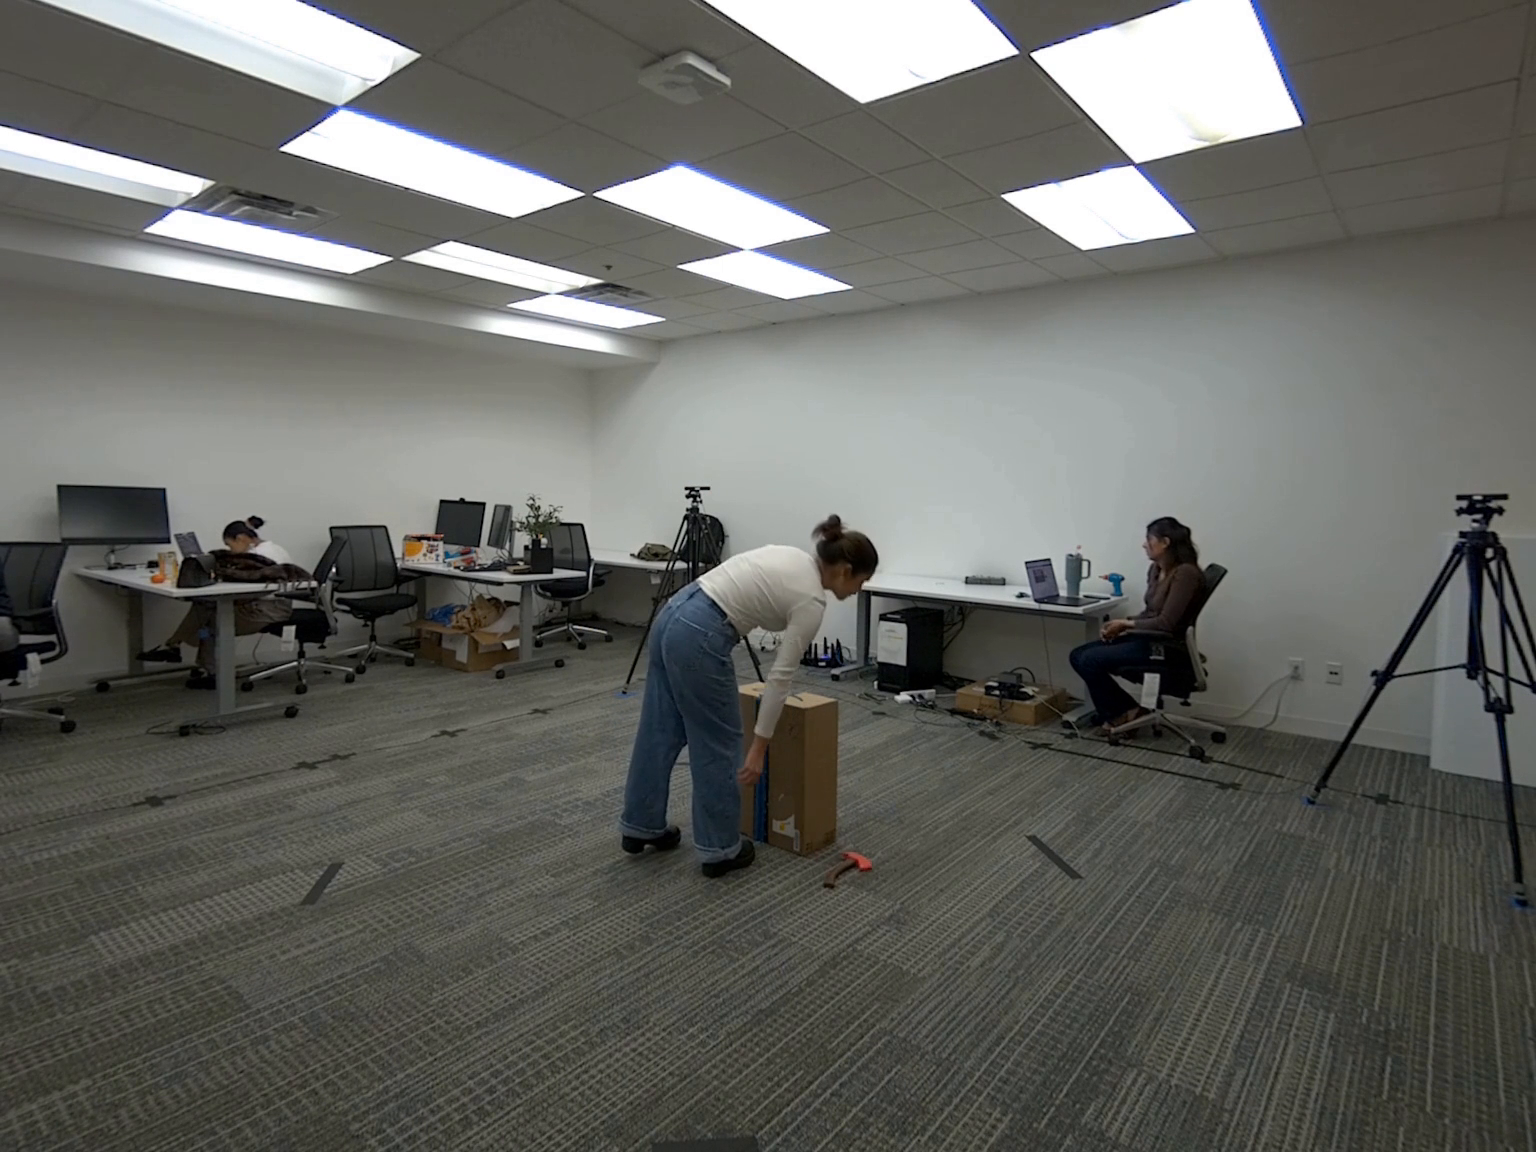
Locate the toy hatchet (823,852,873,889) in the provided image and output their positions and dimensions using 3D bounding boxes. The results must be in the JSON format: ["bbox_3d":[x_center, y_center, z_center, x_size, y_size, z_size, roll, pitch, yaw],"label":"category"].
[{"bbox_3d":[0.286,1.069,3.072,0.134,0.029,0.266,6,9,19],"label":"toy hatchet"}]
